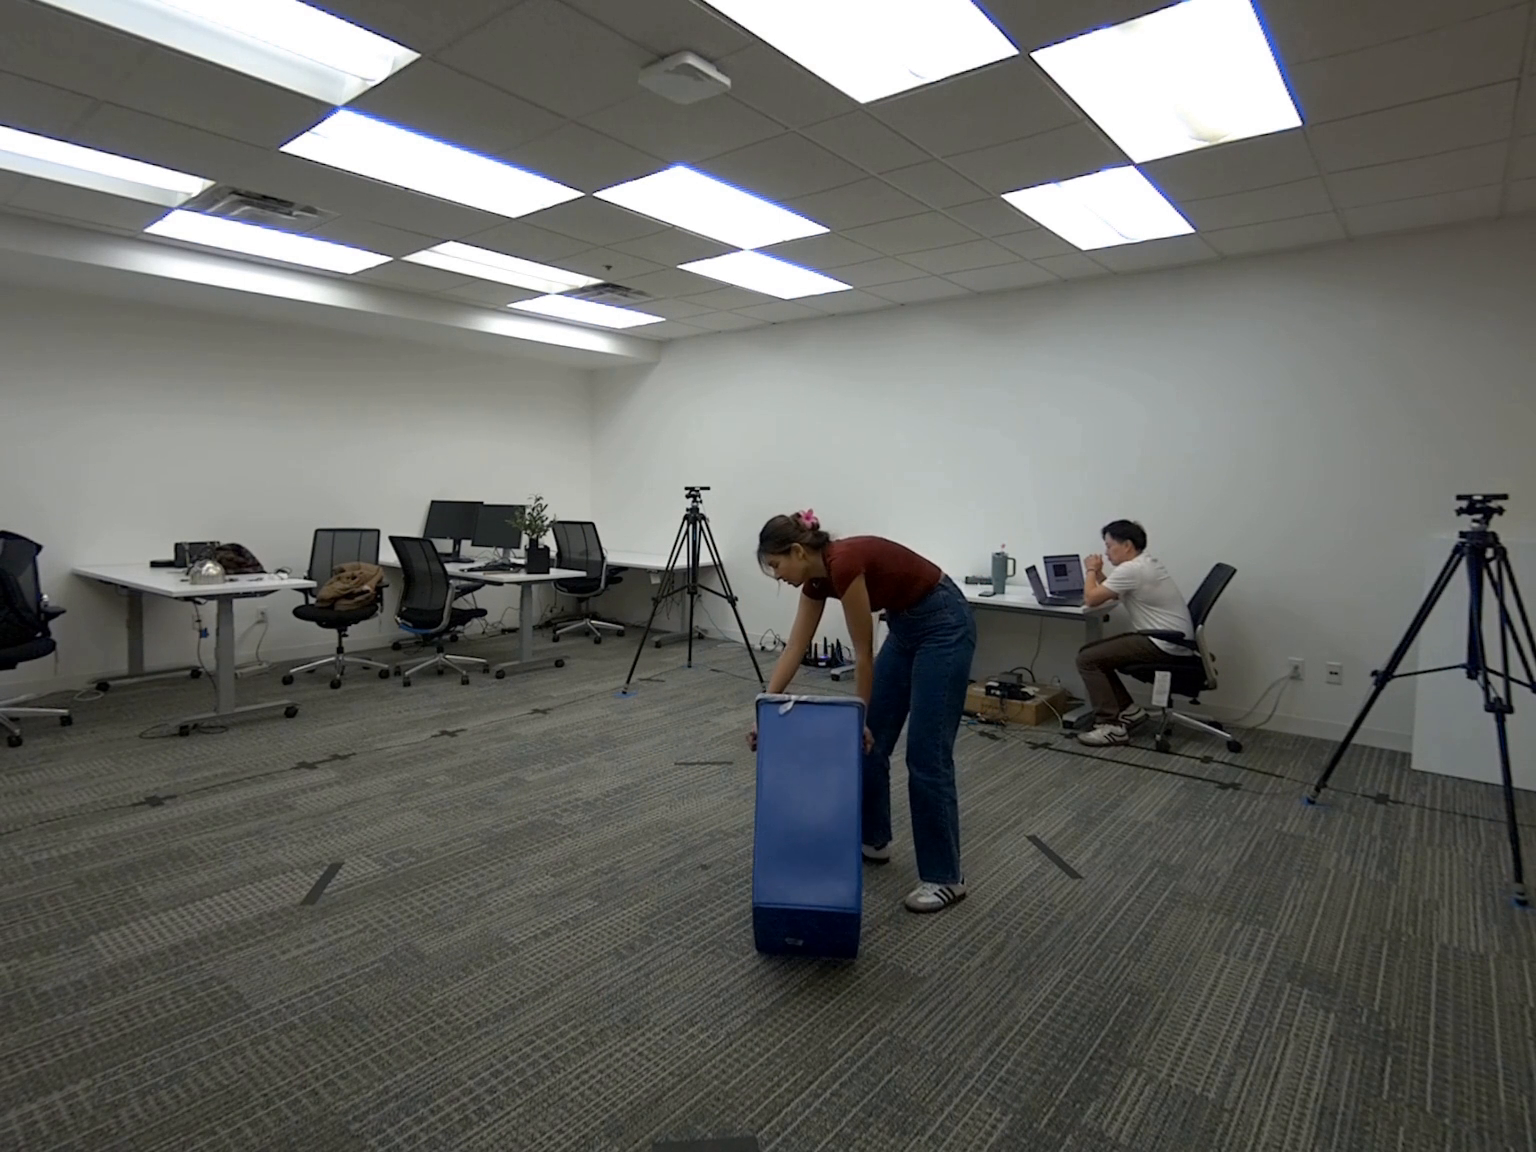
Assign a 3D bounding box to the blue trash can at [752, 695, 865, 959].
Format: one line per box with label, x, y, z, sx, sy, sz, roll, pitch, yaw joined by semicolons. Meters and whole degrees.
blue trash can;0.112;0.778;2.704;0.381;0.362;0.731;1;44;6
